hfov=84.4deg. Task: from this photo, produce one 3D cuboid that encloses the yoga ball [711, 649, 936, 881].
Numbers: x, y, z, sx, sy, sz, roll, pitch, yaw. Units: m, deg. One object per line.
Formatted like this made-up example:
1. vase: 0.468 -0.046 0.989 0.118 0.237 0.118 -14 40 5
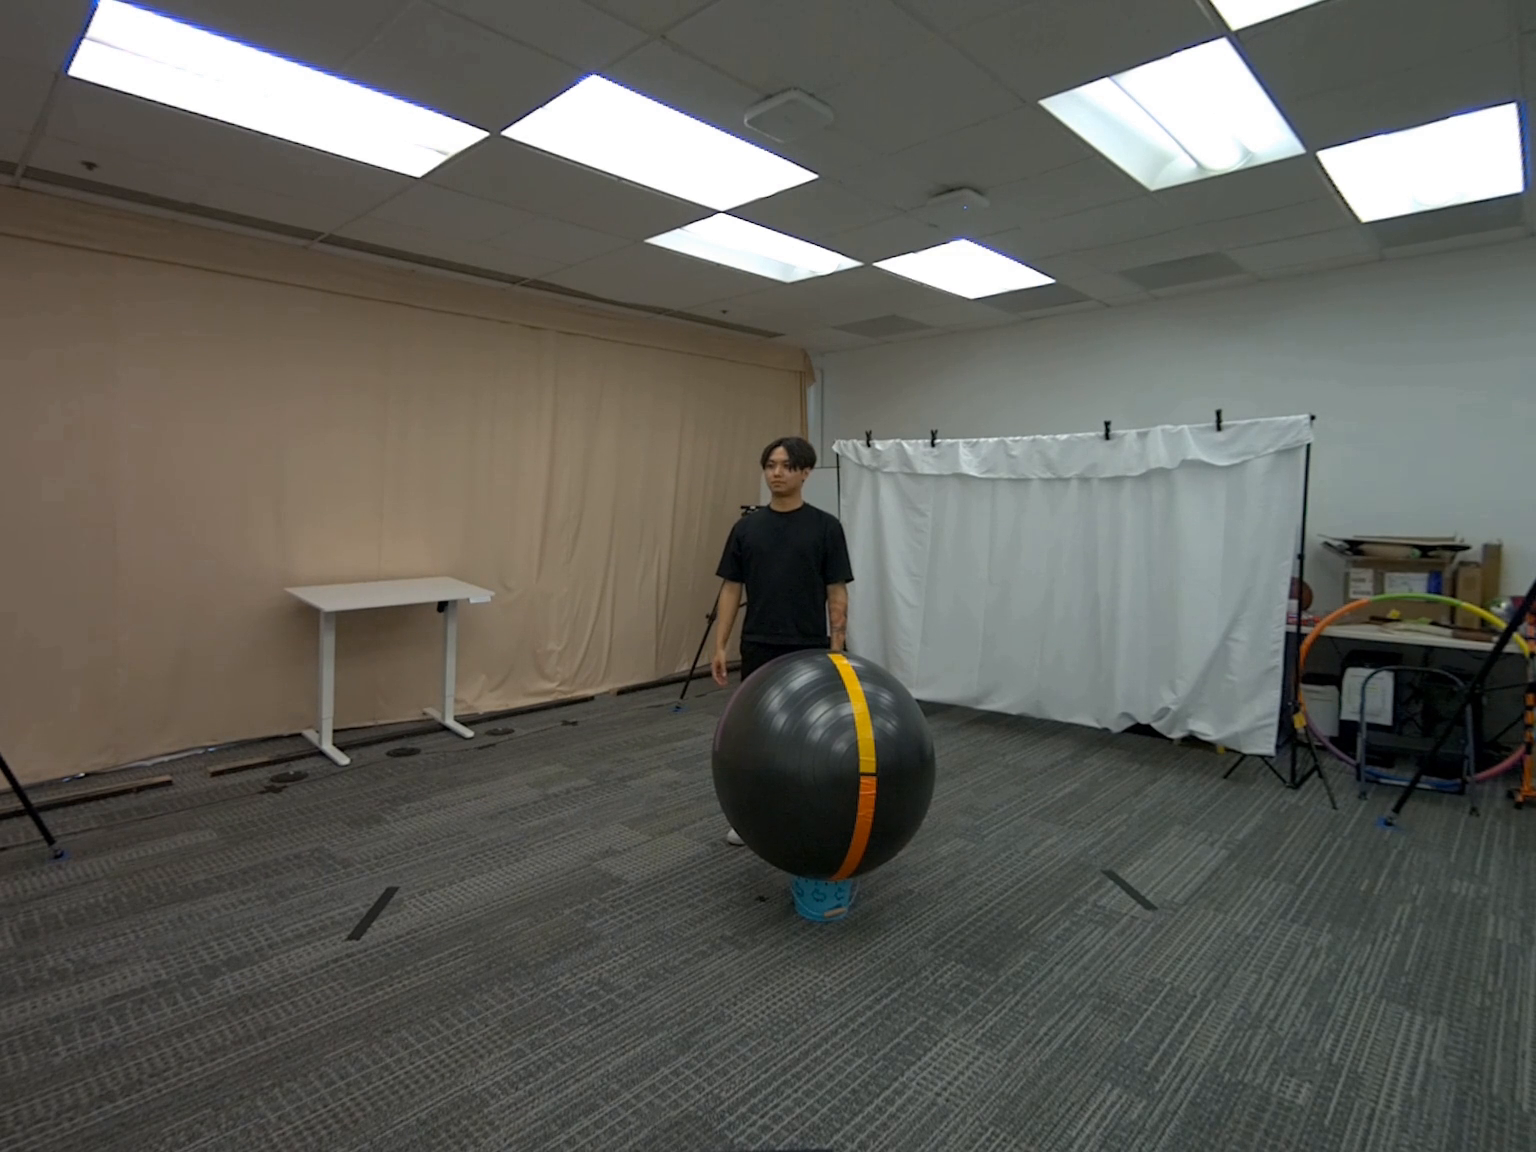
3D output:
1. yoga ball: 0.193 0.639 2.883 0.757 0.756 0.760 0 4 -2
